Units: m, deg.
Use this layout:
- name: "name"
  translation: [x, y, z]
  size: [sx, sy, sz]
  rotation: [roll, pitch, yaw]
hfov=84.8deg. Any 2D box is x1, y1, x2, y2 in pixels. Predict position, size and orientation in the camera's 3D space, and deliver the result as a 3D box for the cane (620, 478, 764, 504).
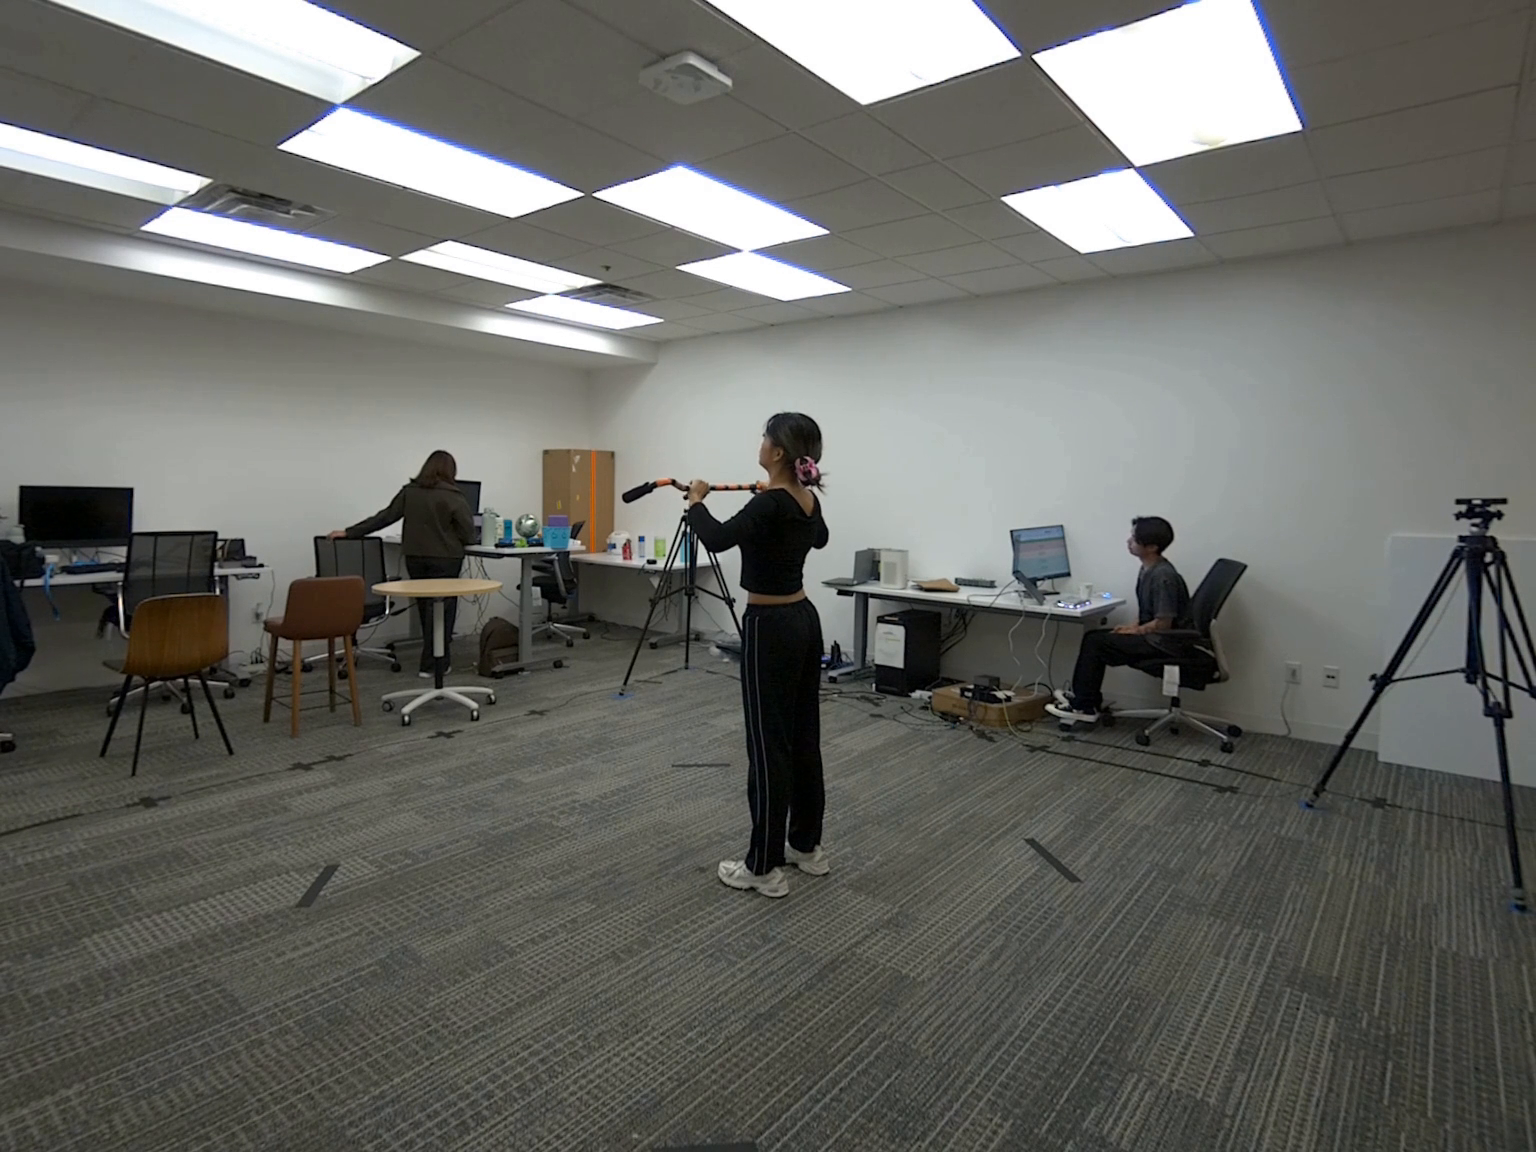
- name: "cane"
  translation: [-0.164, -0.306, 3.032]
  size: [0.210, 0.153, 0.884]
  rotation: [-21, -6, 32]
